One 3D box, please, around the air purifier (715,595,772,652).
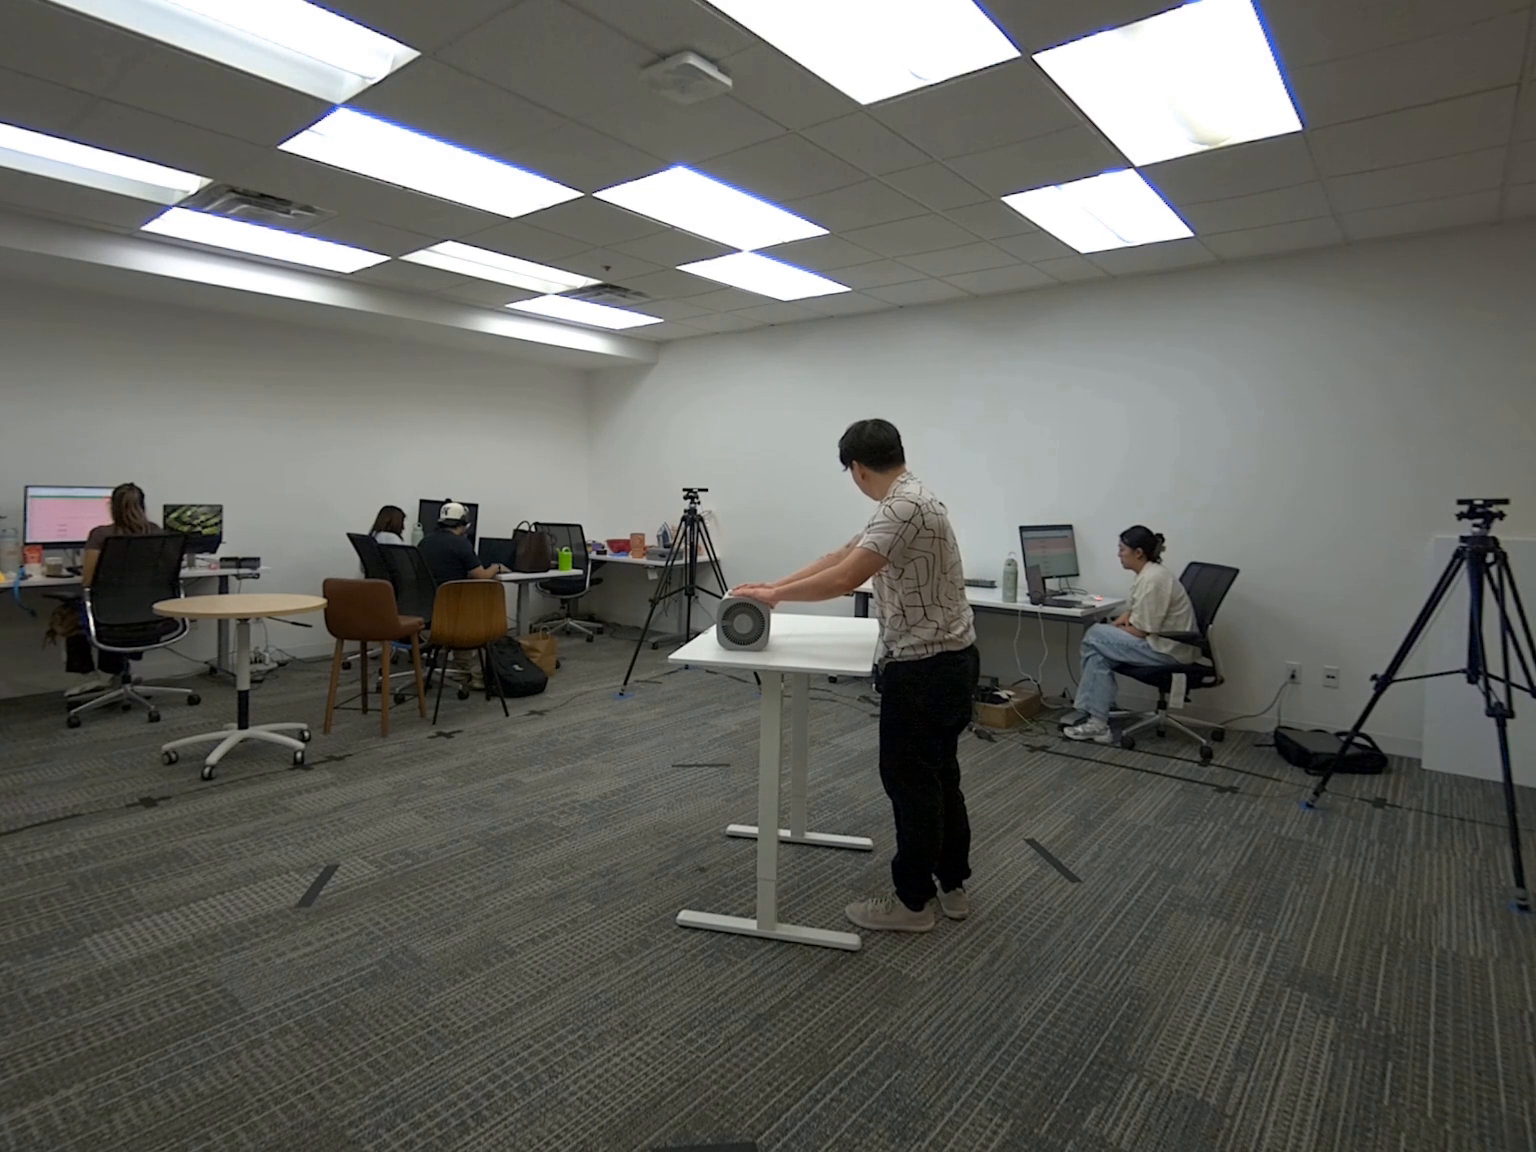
[{"bbox_3d":[-0.083,0.137,2.804,0.172,0.170,0.265,3,5,3],"label":"air purifier"}]
